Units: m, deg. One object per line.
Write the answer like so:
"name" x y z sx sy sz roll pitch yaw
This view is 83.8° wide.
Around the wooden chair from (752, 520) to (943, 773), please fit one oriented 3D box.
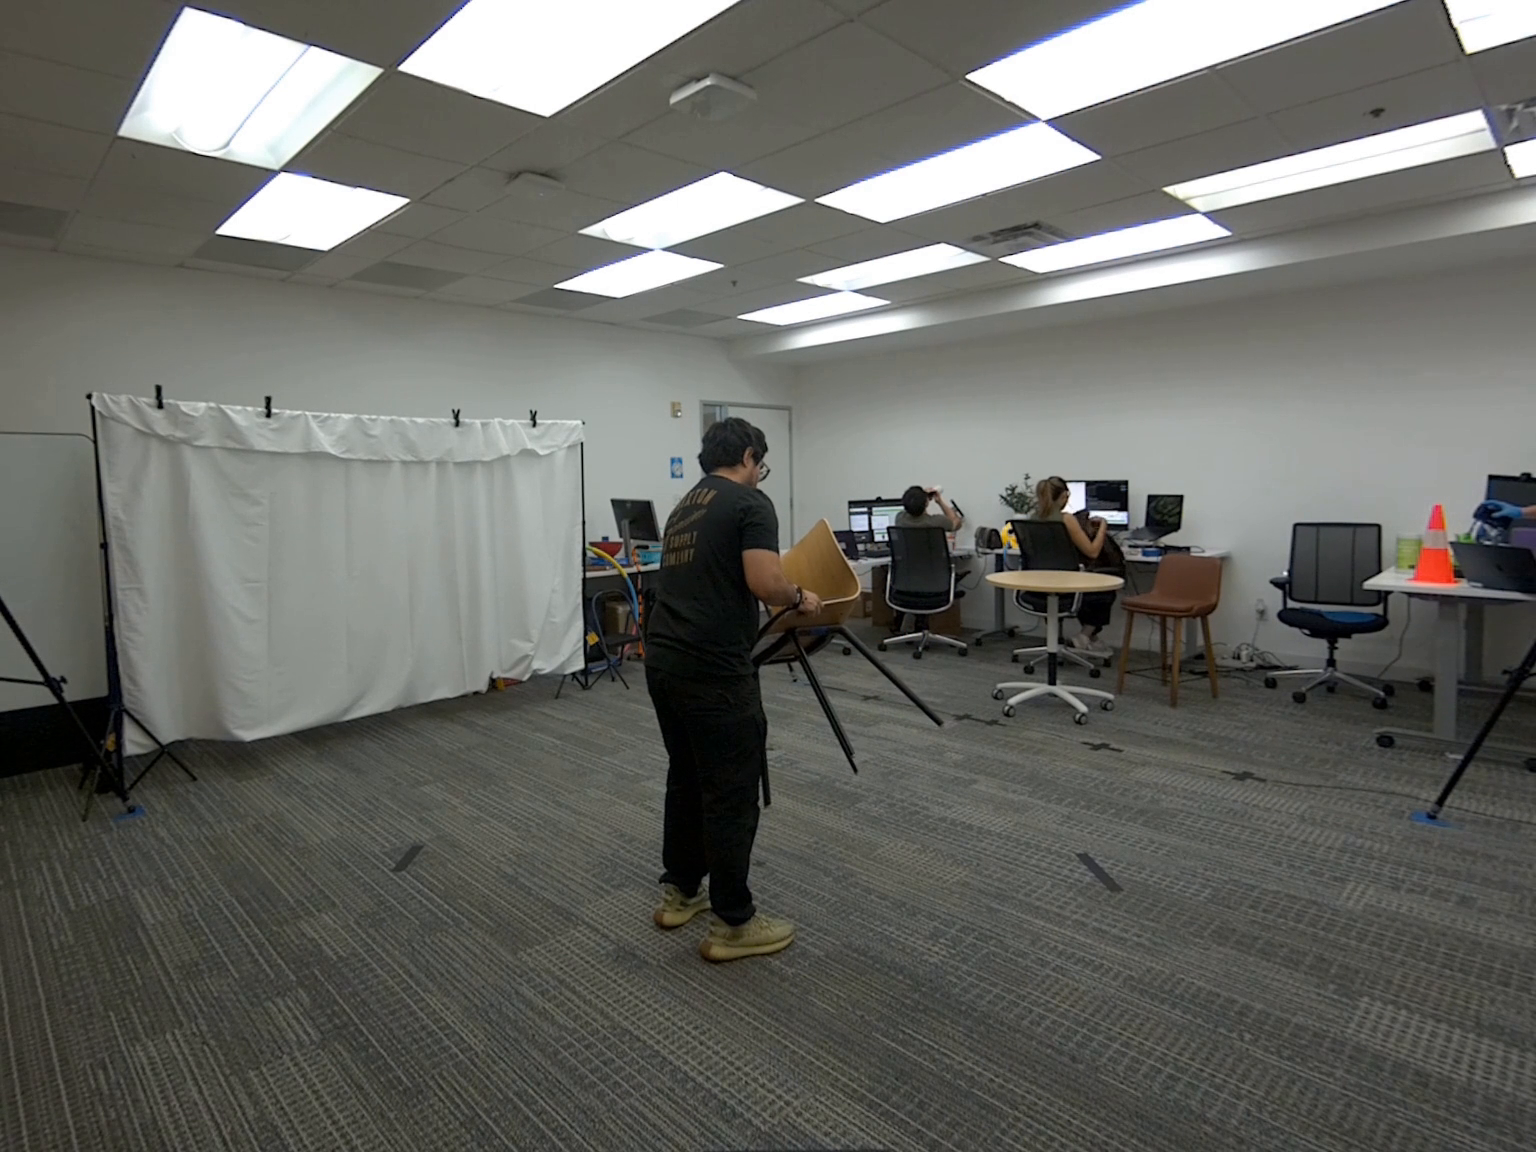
"wooden chair" 0.110 0.244 2.885 0.508 0.901 0.479 -1 -31 -40
